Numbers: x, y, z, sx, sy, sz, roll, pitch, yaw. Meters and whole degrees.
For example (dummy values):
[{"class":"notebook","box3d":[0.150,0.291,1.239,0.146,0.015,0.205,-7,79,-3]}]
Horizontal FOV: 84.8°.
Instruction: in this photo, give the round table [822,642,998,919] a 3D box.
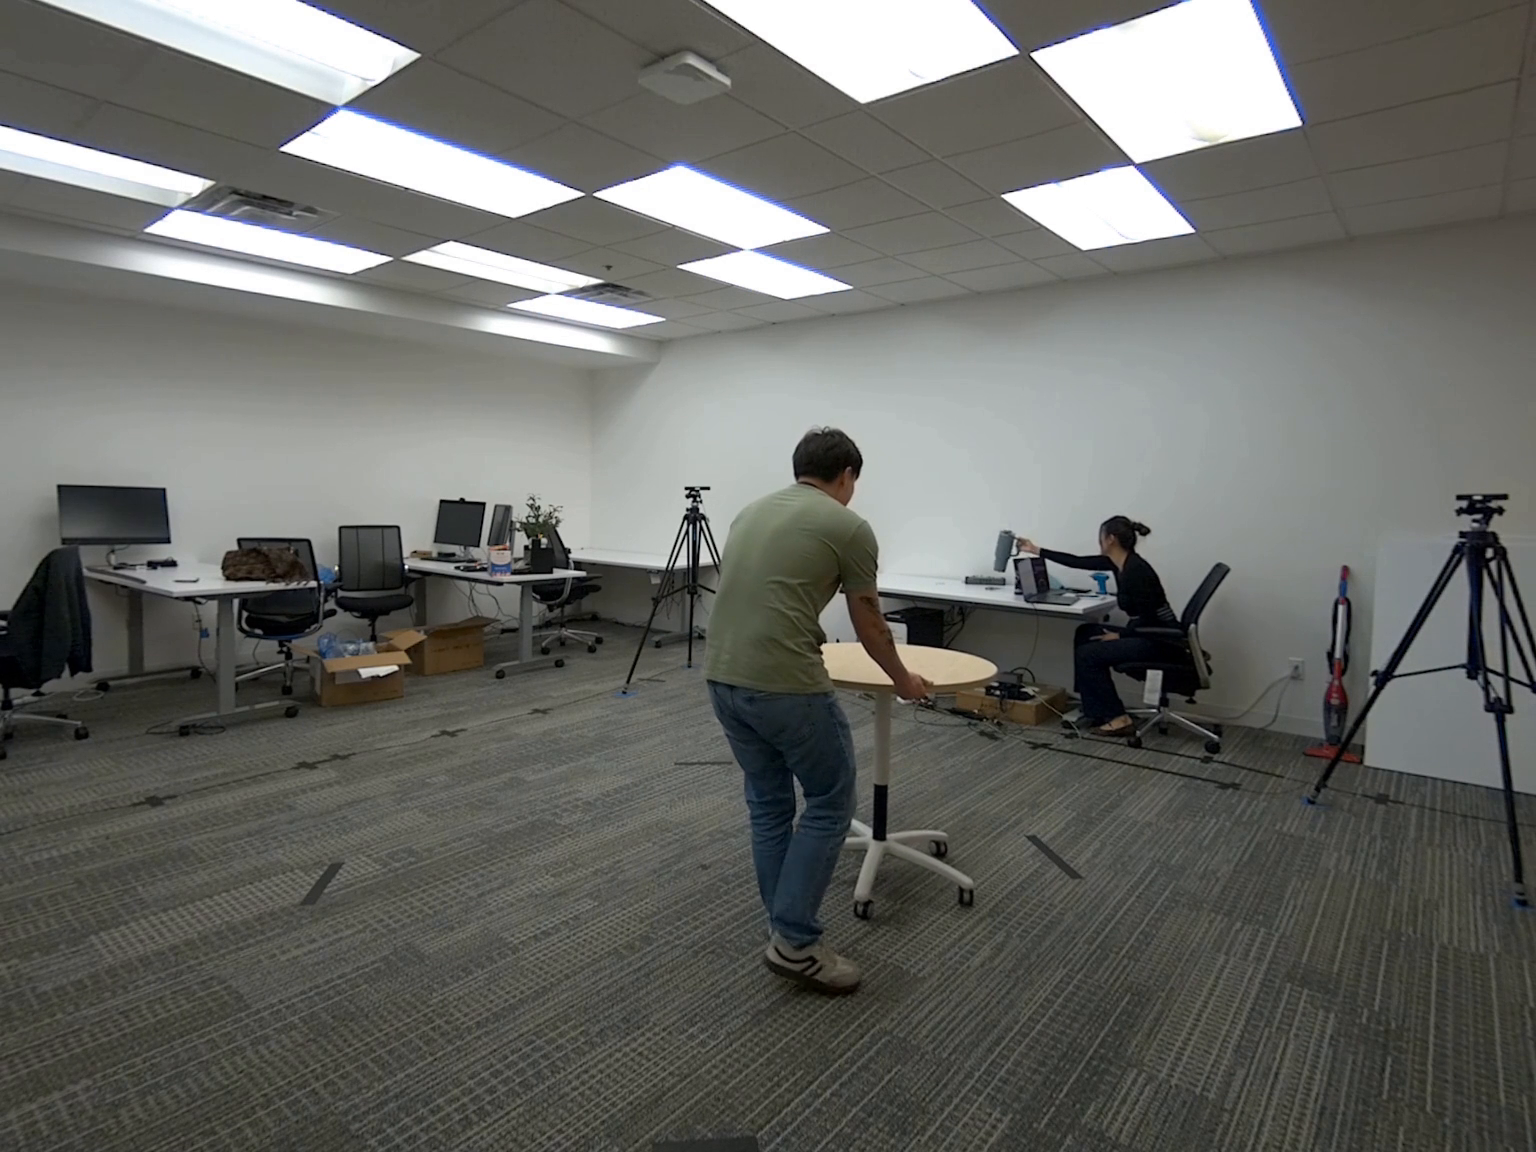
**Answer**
[{"class":"round table","box3d":[0.401,0.694,3.047,0.763,0.791,0.768,1,4,-2]}]
